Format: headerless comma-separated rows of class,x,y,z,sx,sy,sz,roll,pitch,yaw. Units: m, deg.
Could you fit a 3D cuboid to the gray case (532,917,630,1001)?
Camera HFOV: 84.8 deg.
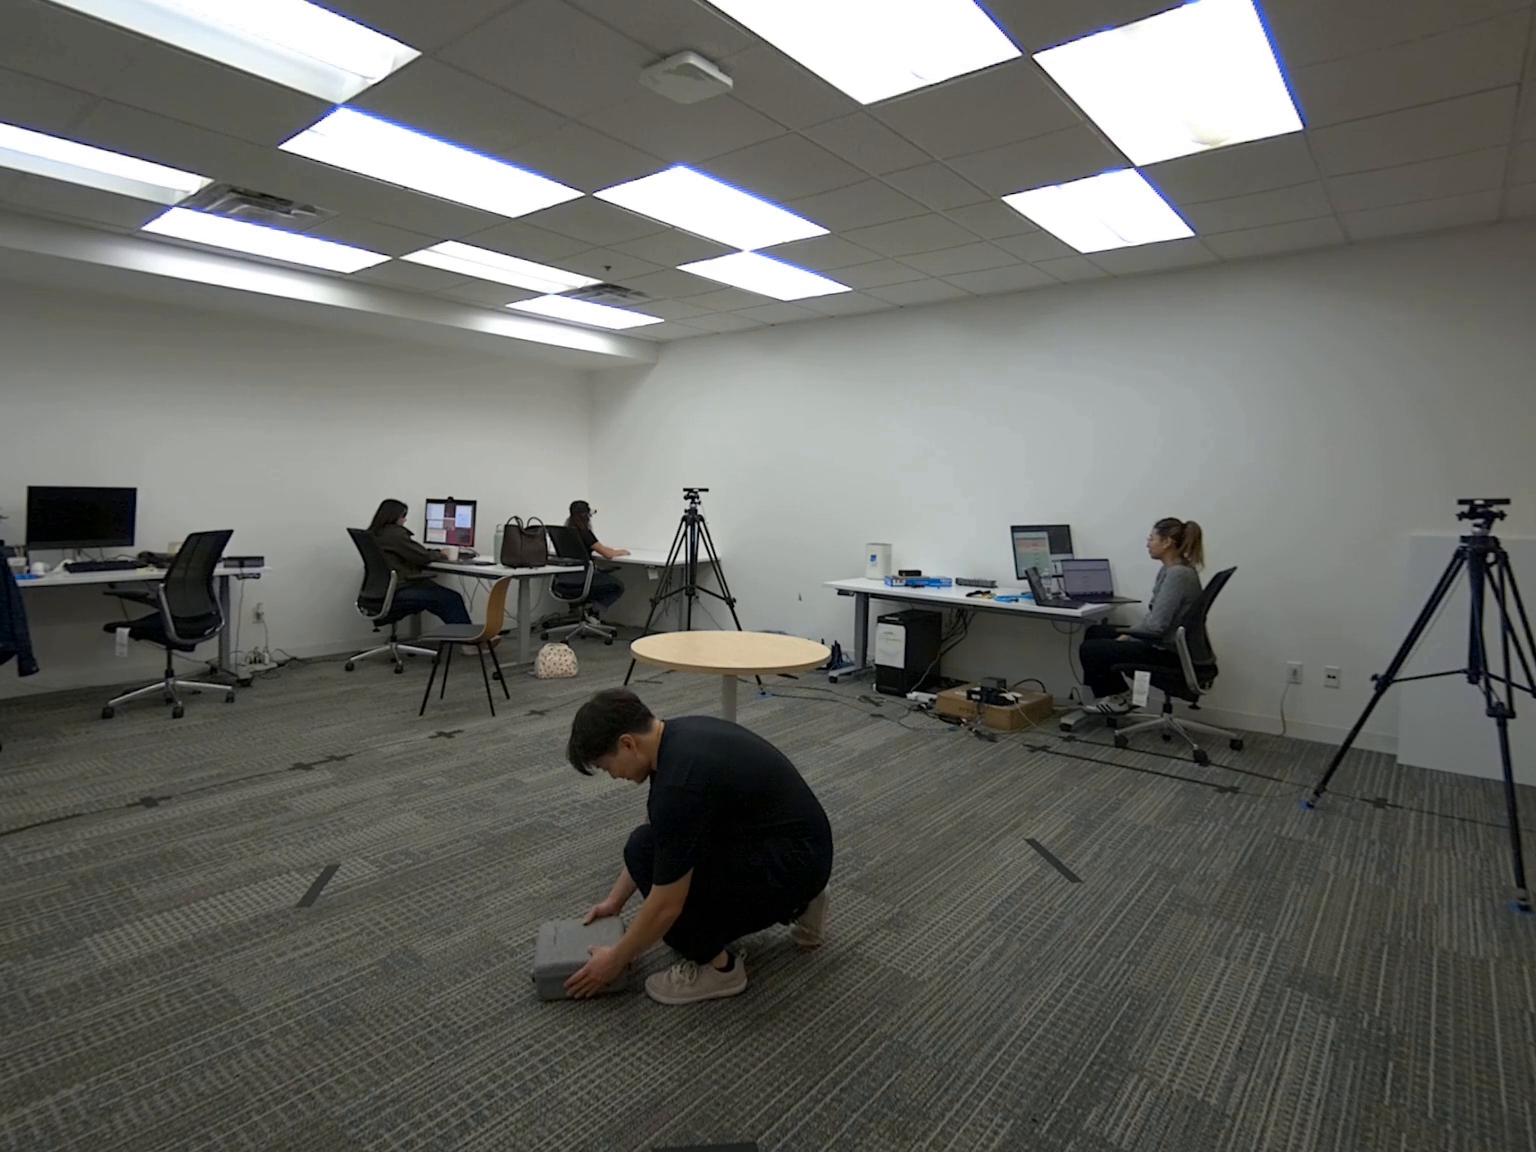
gray case,-0.542,1.077,2.406,0.258,0.104,0.260,-3,5,-9
